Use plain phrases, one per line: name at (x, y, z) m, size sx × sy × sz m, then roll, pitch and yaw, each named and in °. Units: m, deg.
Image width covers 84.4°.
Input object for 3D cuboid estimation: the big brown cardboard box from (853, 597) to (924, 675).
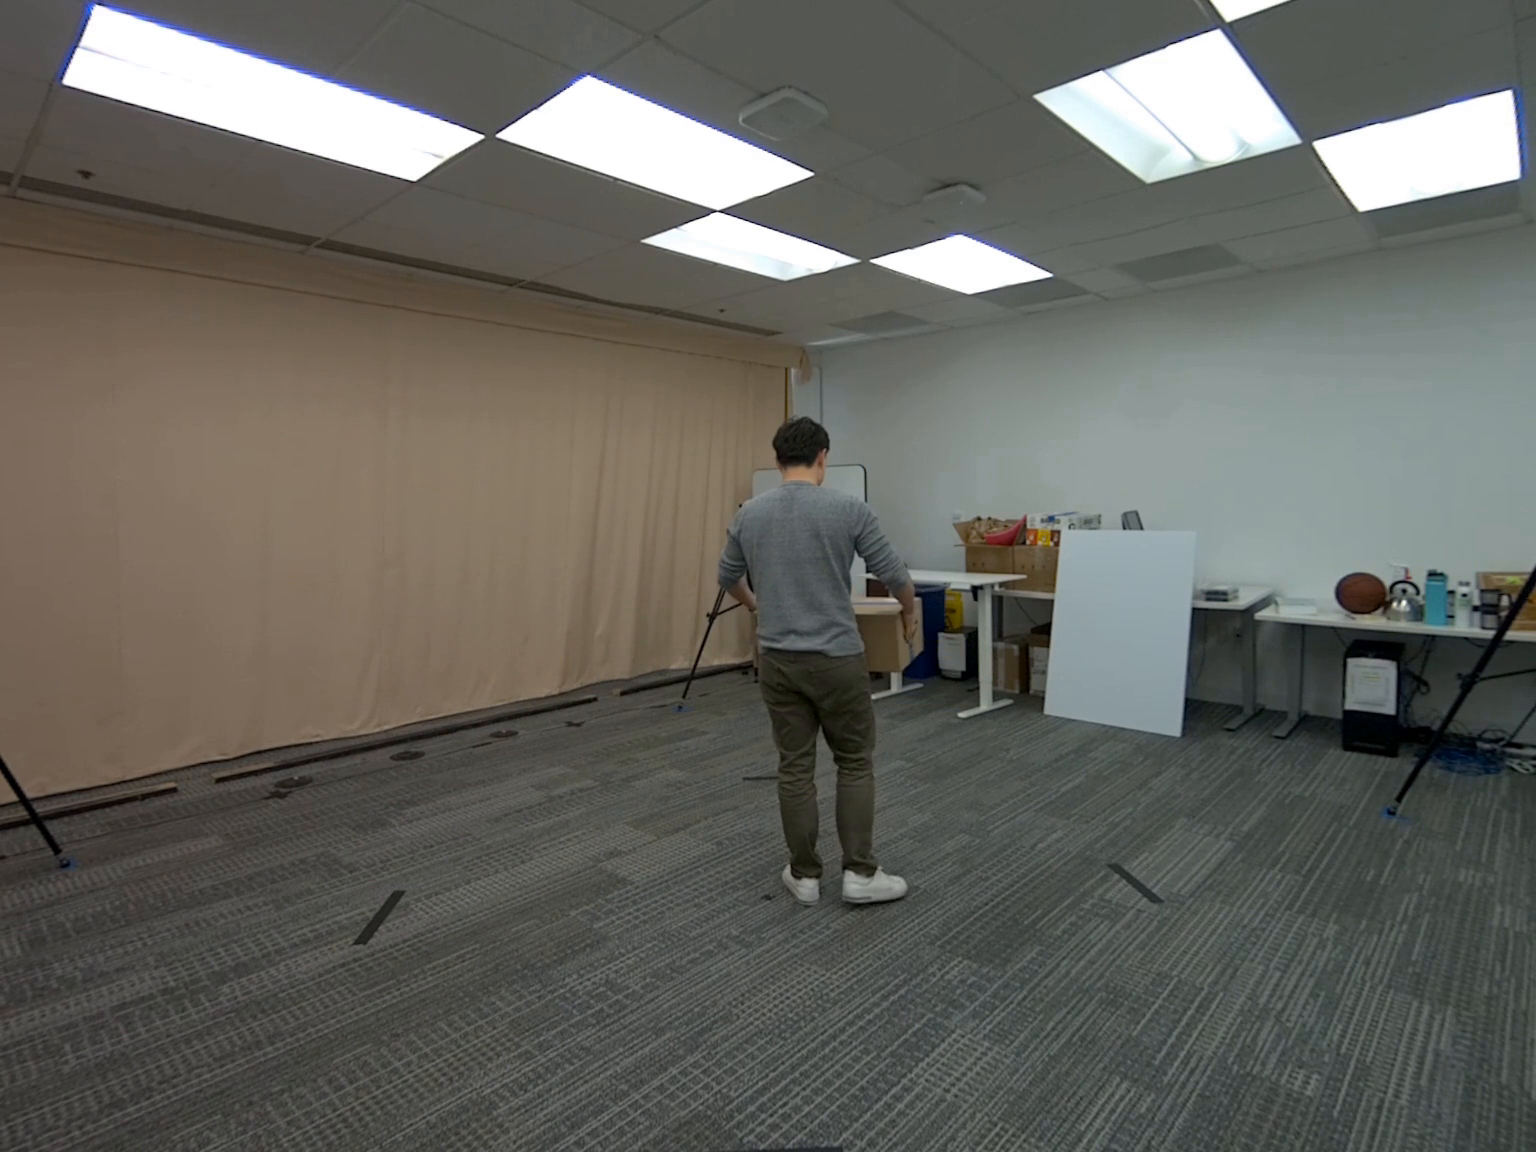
big brown cardboard box at (0.288, 0.214, 3.295) m, size 0.603 × 0.232 × 0.409 m, roll -1°, pitch 6°, yaw 23°
